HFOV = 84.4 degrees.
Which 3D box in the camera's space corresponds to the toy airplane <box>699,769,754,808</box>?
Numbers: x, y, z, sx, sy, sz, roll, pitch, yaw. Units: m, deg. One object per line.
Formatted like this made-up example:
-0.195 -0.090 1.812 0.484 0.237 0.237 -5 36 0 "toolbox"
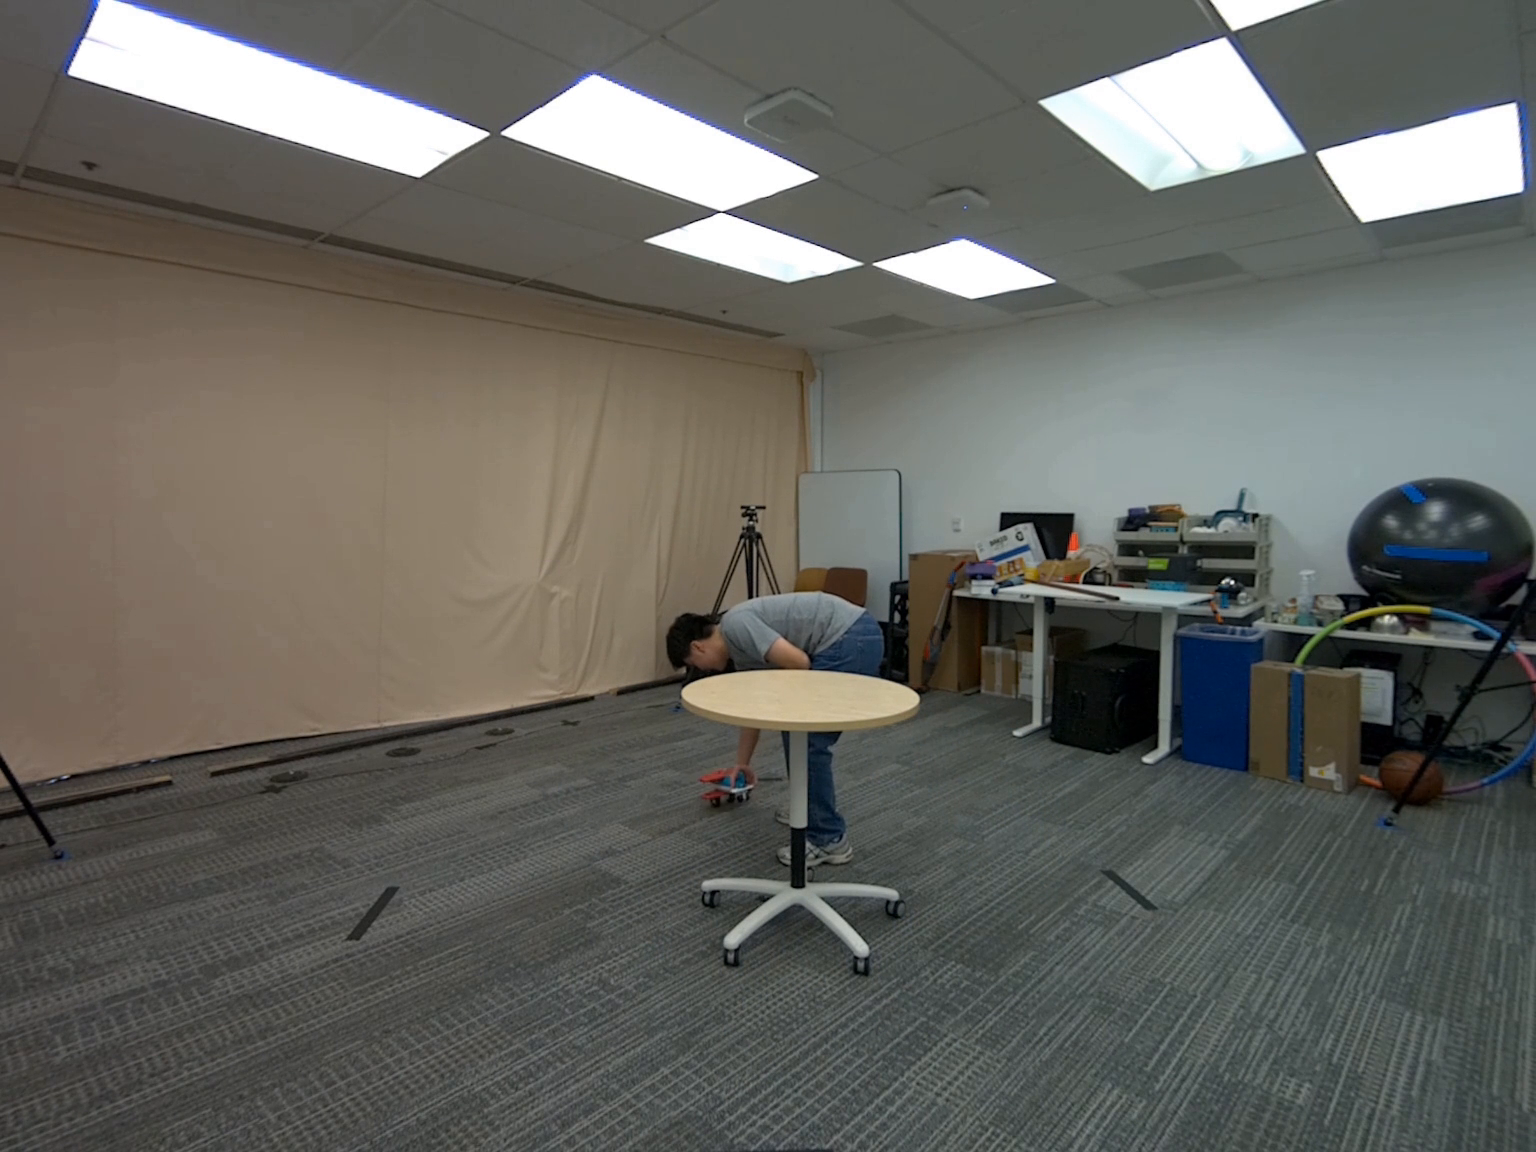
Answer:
-0.167 0.972 3.881 0.264 0.158 0.244 -20 -13 26 "toy airplane"
